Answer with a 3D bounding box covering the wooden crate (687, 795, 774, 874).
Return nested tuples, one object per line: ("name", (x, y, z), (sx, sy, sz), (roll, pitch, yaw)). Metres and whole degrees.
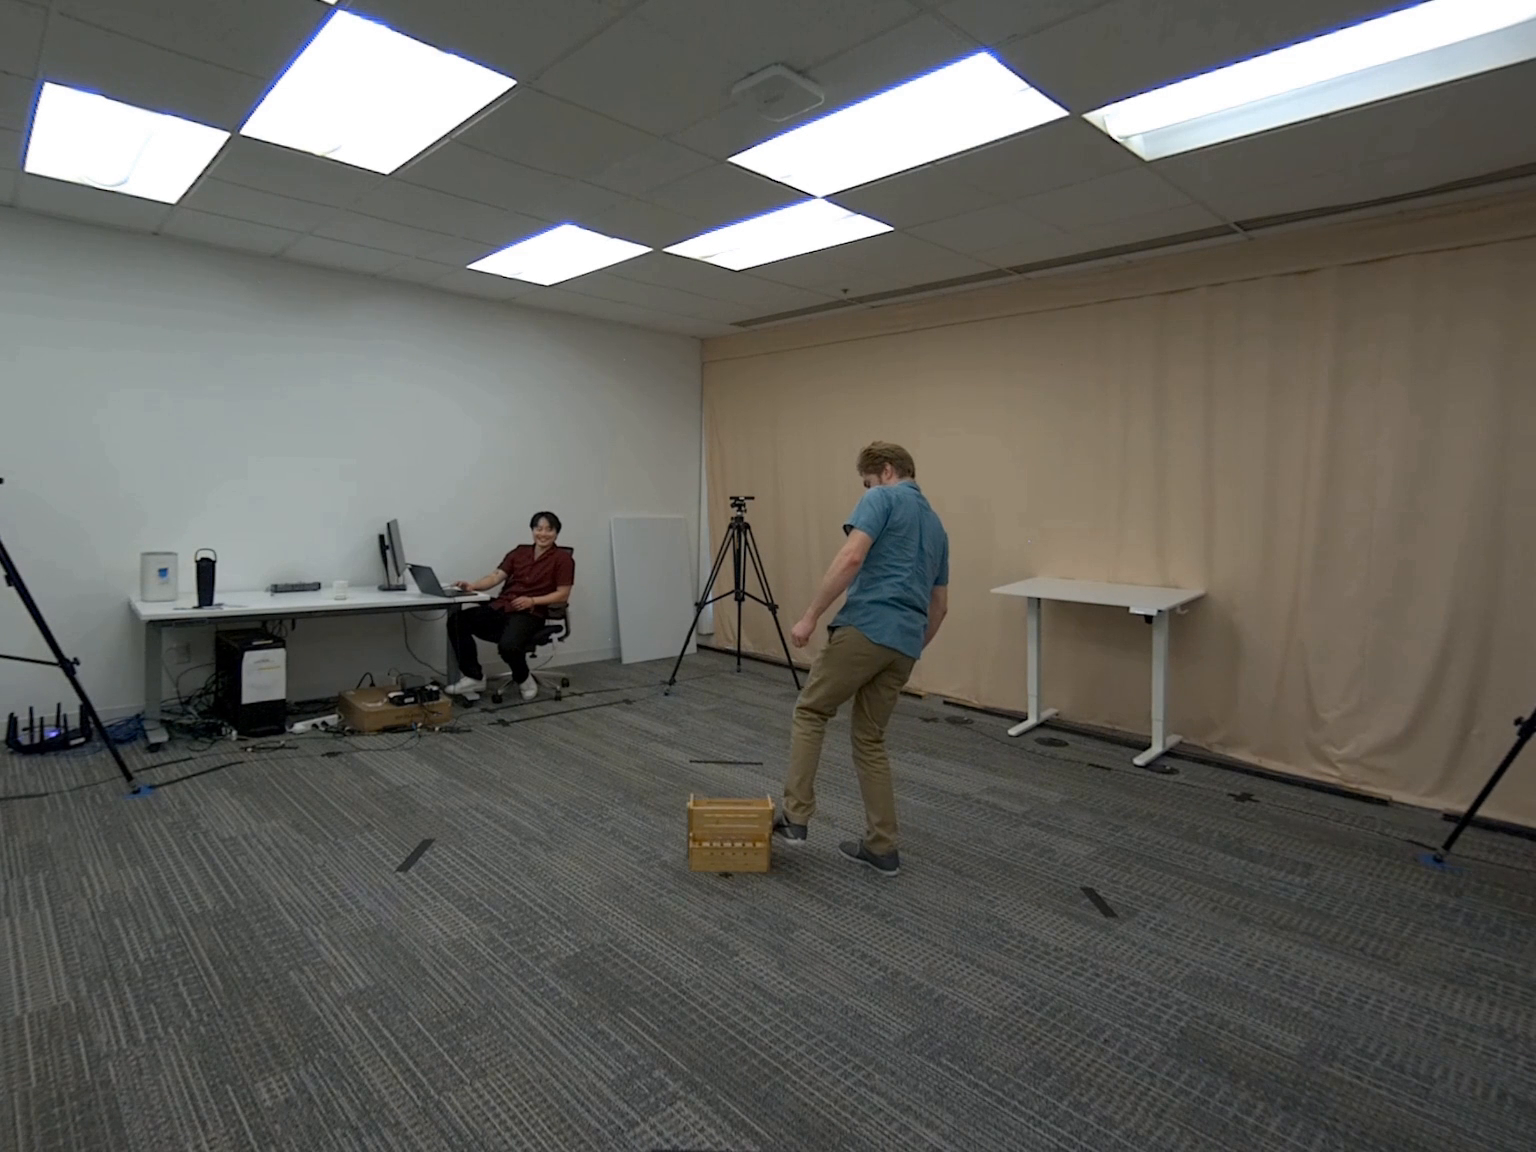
("wooden crate", (-0.159, 0.956, 3.234), (0.323, 0.272, 0.304), (1, 5, -4))
